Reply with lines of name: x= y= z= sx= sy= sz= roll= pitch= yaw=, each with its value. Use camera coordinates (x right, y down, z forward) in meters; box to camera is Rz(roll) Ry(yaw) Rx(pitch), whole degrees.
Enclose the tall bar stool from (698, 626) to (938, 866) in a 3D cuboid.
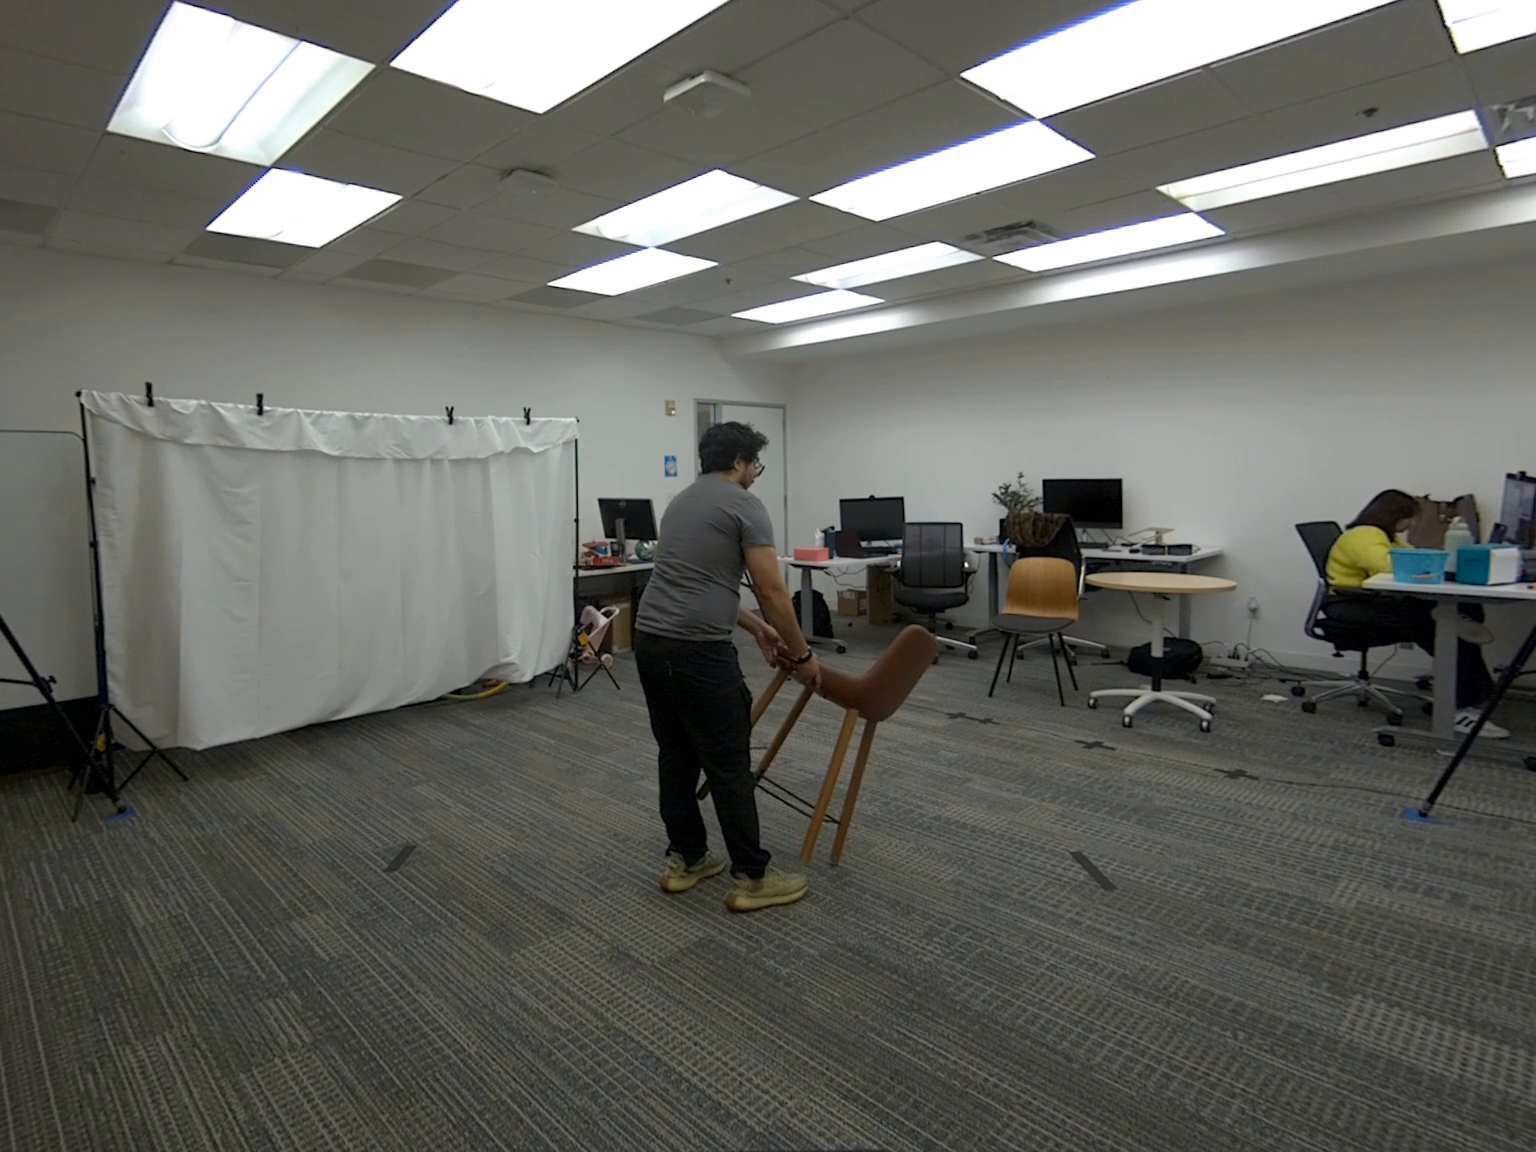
tall bar stool: x=0.203 y=0.527 z=3.101 sx=0.483 sy=0.892 sz=0.440 roll=24 pitch=-9 yaw=30
